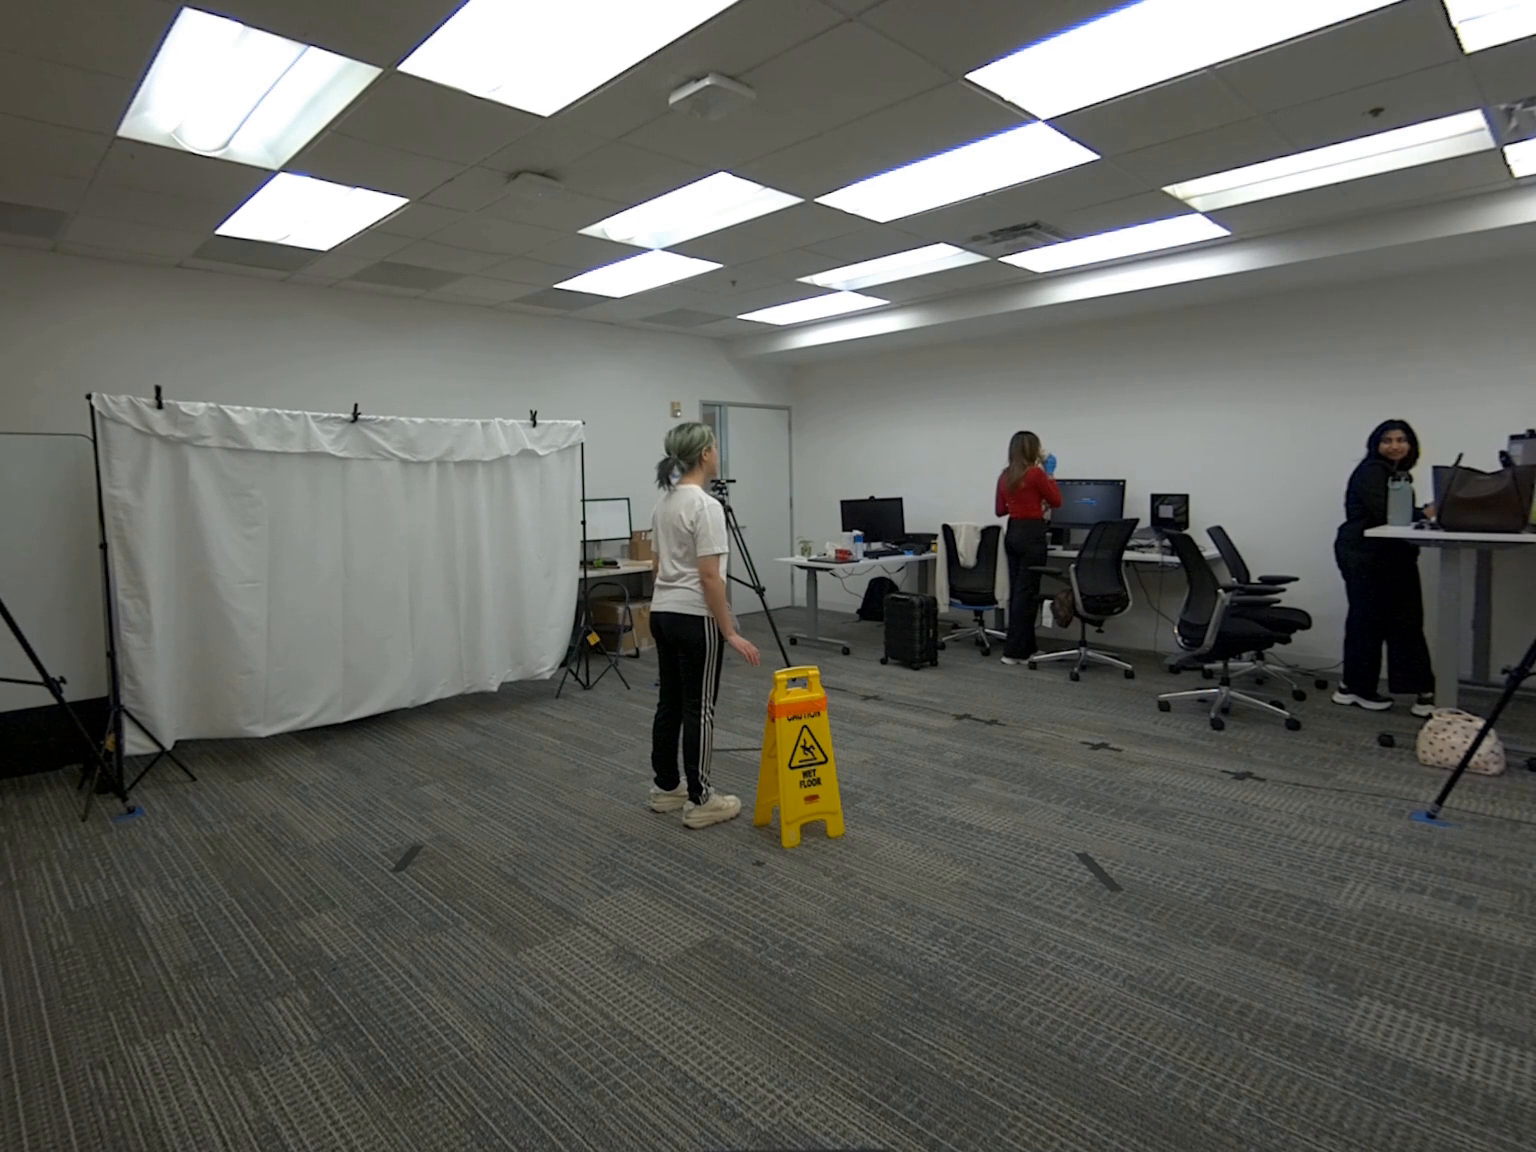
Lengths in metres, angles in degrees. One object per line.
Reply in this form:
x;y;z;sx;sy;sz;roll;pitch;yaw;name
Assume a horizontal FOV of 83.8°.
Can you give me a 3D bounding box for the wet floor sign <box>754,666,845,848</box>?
0.115;0.683;3.387;0.276;0.644;0.297;-1;4;-27;wet floor sign
